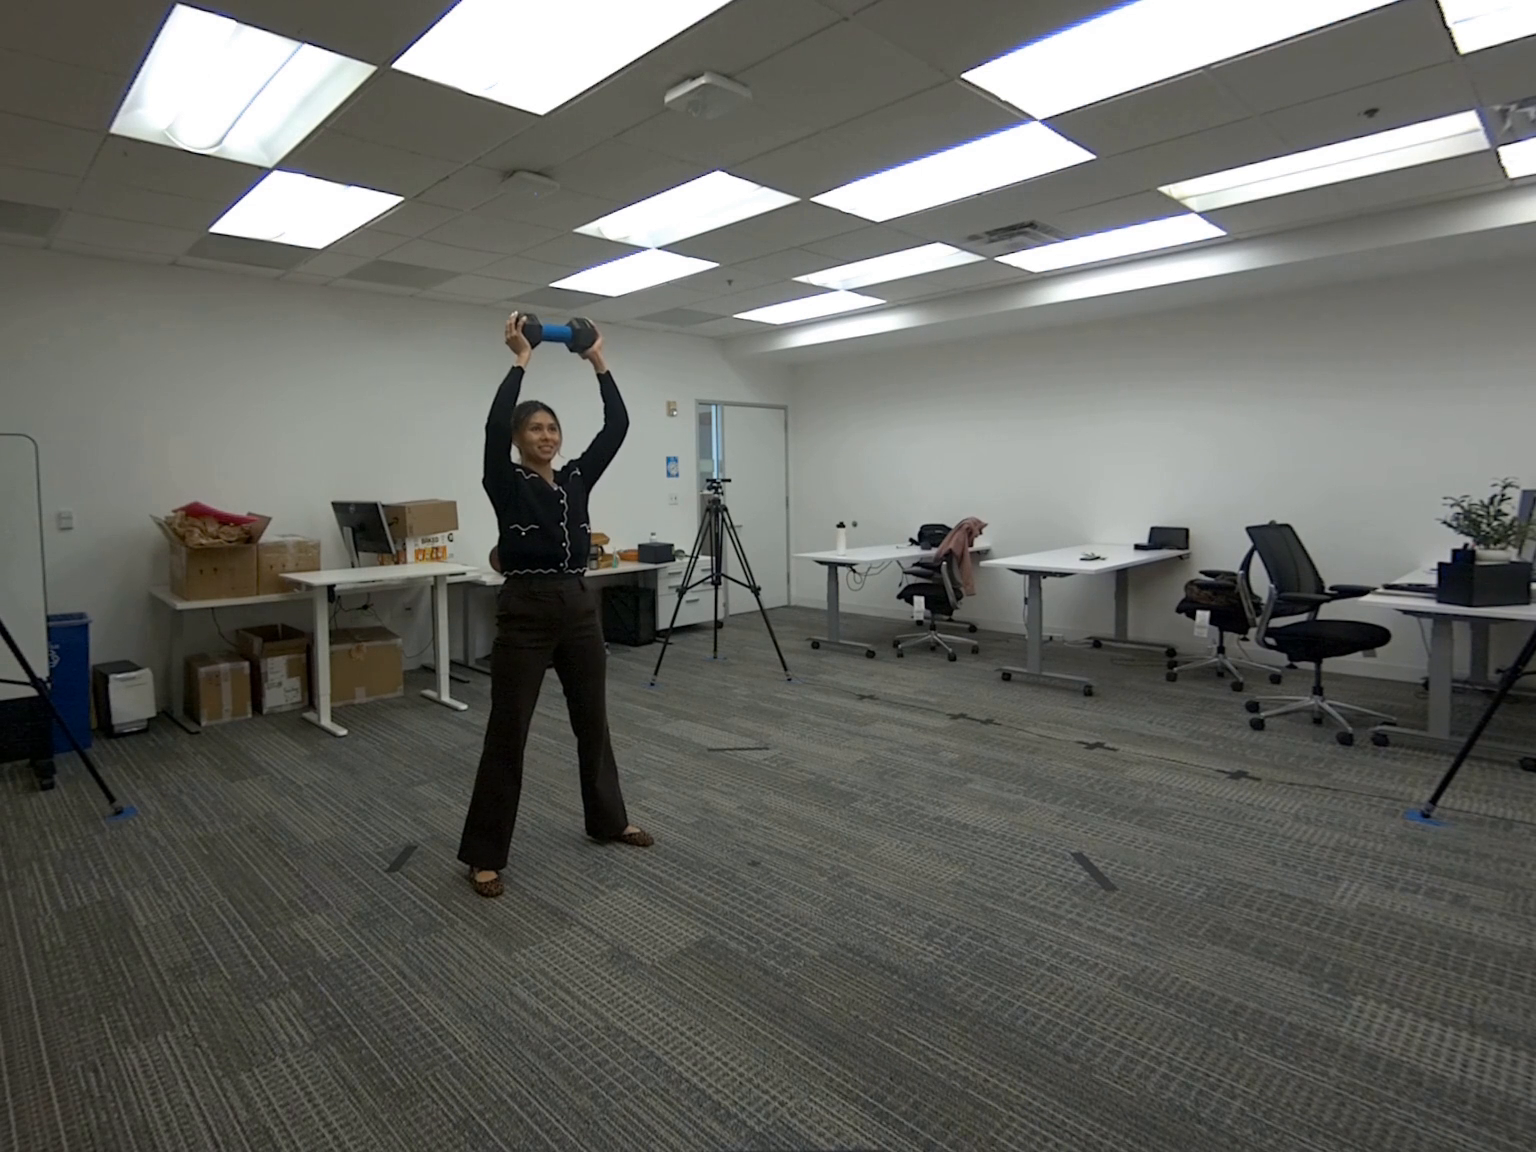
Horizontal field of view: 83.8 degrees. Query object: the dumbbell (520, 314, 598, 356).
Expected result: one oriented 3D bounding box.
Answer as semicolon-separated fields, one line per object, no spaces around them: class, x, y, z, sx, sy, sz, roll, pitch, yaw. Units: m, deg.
dumbbell;-0.757;-0.845;3.000;0.286;0.108;0.127;-7;49;-42
